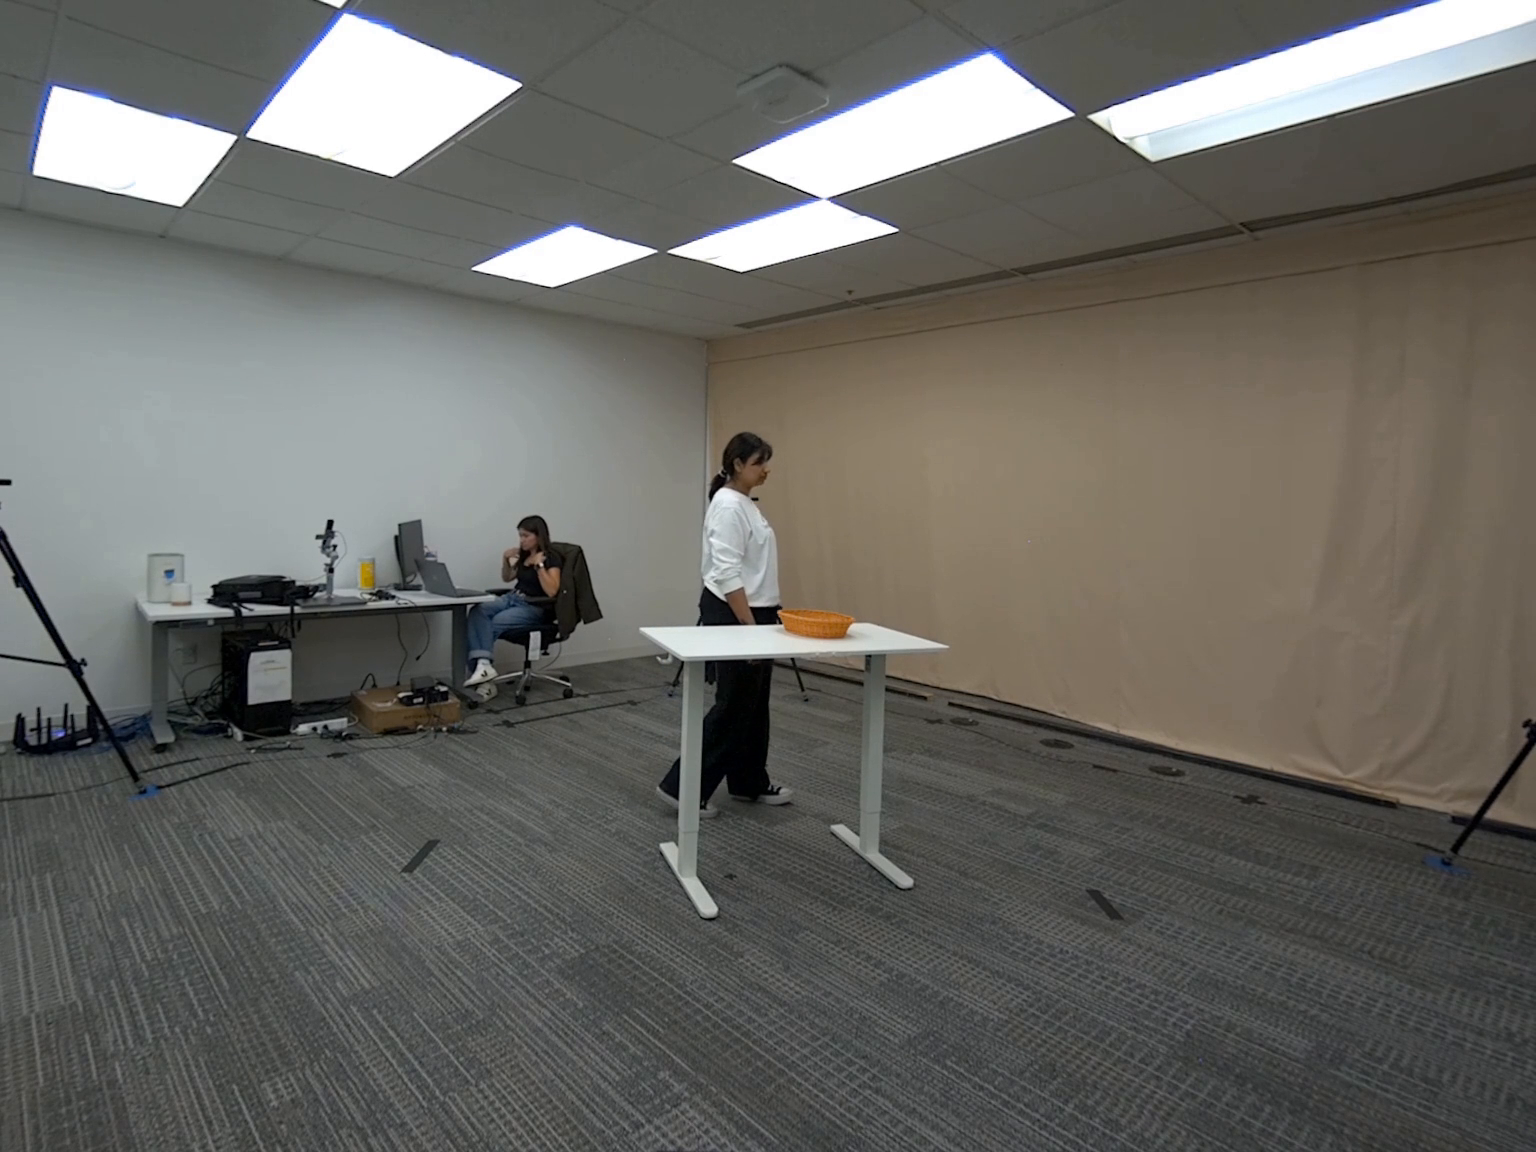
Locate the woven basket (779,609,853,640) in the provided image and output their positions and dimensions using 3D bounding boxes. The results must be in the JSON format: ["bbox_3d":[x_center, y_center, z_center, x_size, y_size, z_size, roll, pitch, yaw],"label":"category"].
[{"bbox_3d":[0.168,0.187,3.257,0.247,0.073,0.359,-1,6,-33],"label":"woven basket"}]
